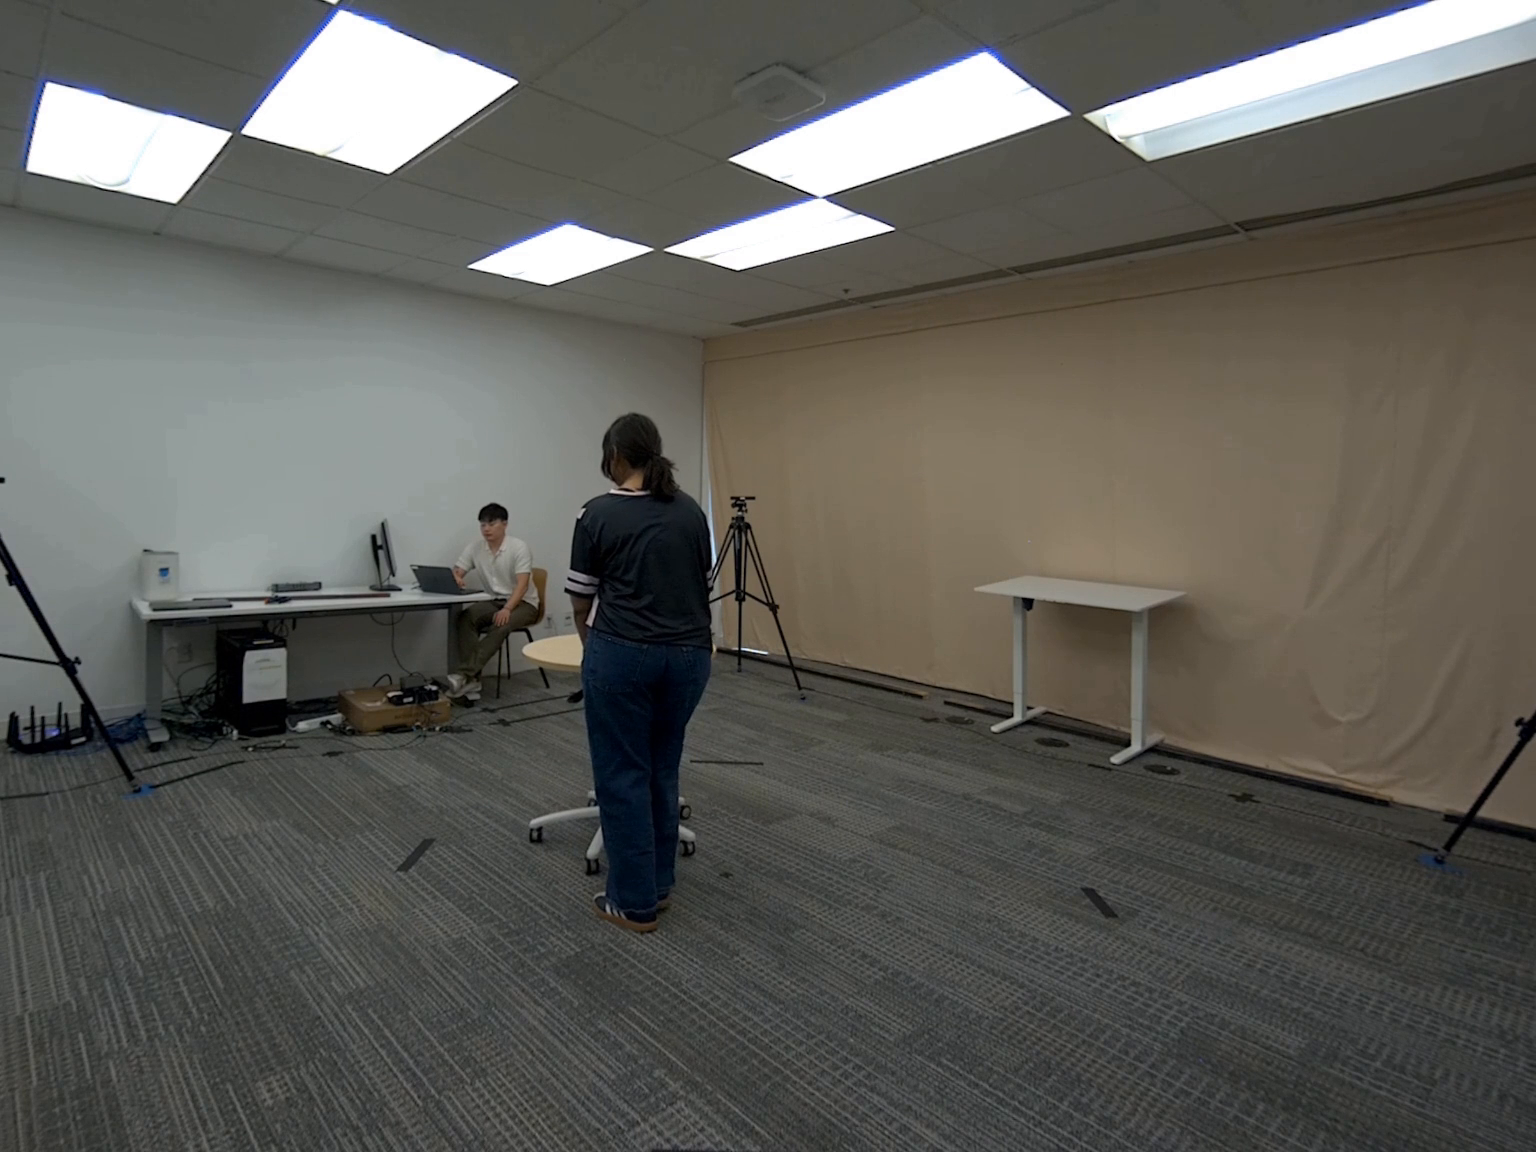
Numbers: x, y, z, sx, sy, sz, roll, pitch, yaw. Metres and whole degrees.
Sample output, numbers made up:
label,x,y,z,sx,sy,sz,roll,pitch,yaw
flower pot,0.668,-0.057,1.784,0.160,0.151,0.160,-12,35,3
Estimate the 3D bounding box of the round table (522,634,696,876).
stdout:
label,x,y,z,sx,sy,sz,roll,pitch,yaw
round table,-0.595,0.683,3.390,0.763,0.791,0.767,1,4,-1
